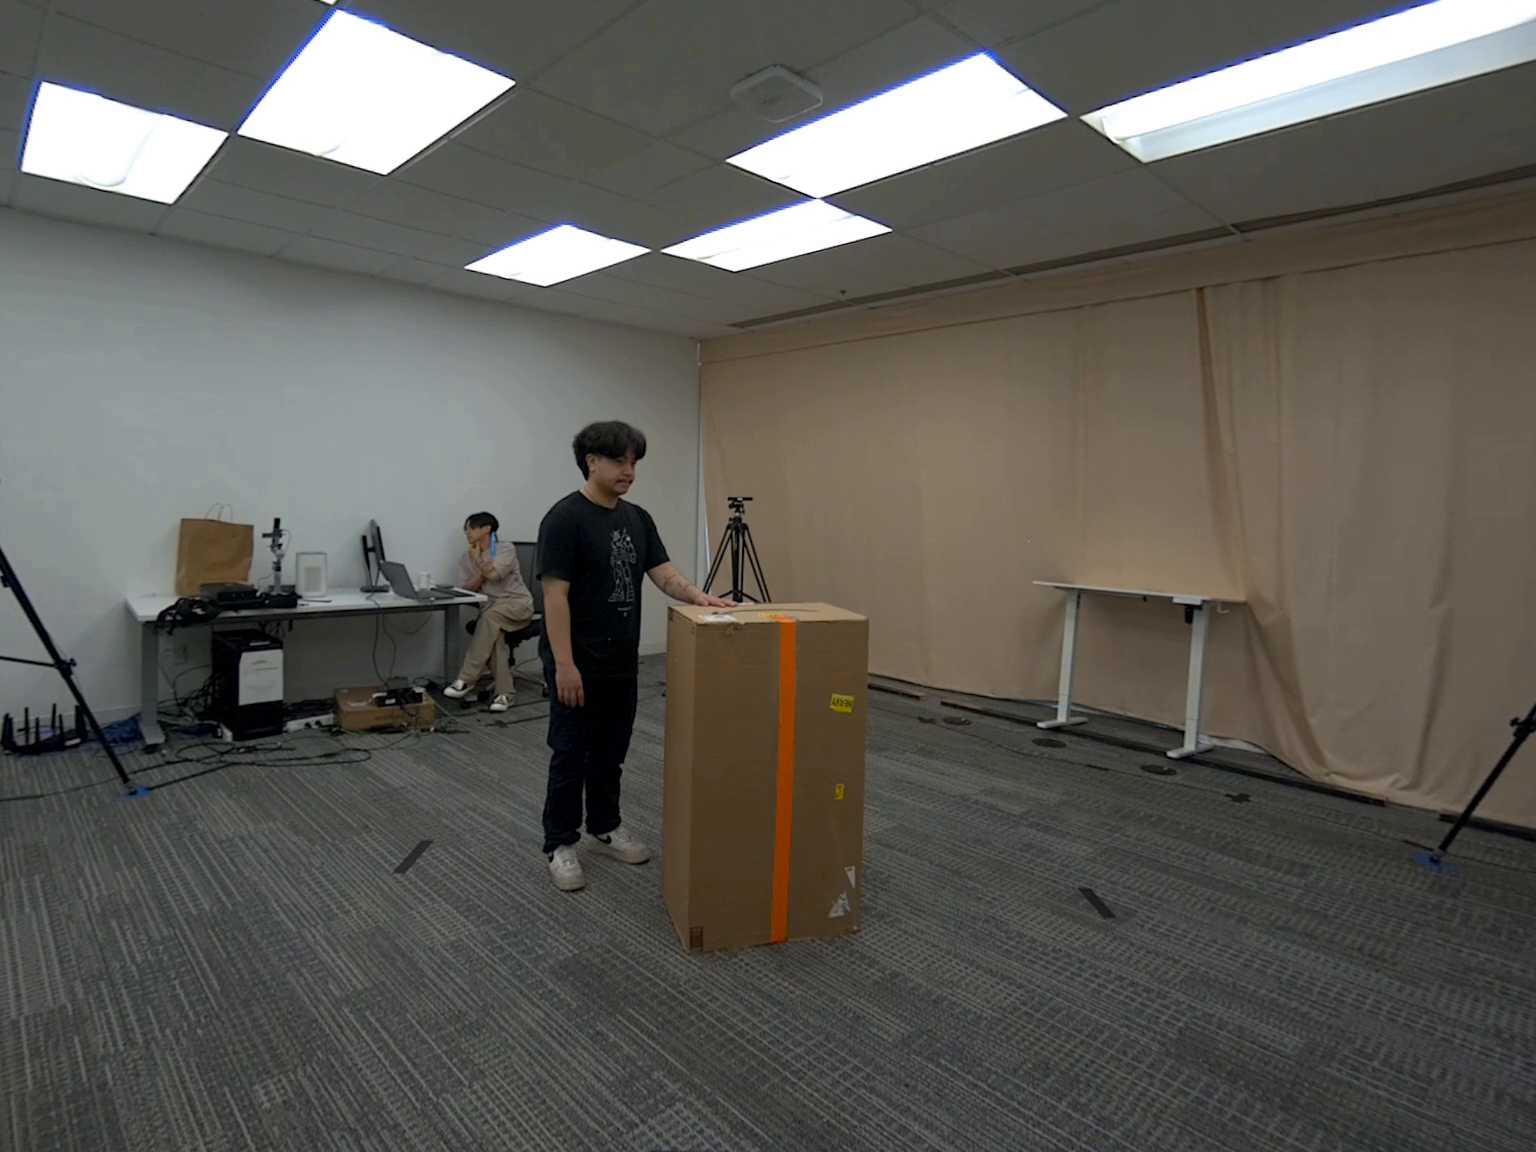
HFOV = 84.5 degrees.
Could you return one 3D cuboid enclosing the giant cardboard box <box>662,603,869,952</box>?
[{"bbox_3d":[-0.031,0.625,2.813,0.576,1.024,0.454,0,4,-17],"label":"giant cardboard box"}]
